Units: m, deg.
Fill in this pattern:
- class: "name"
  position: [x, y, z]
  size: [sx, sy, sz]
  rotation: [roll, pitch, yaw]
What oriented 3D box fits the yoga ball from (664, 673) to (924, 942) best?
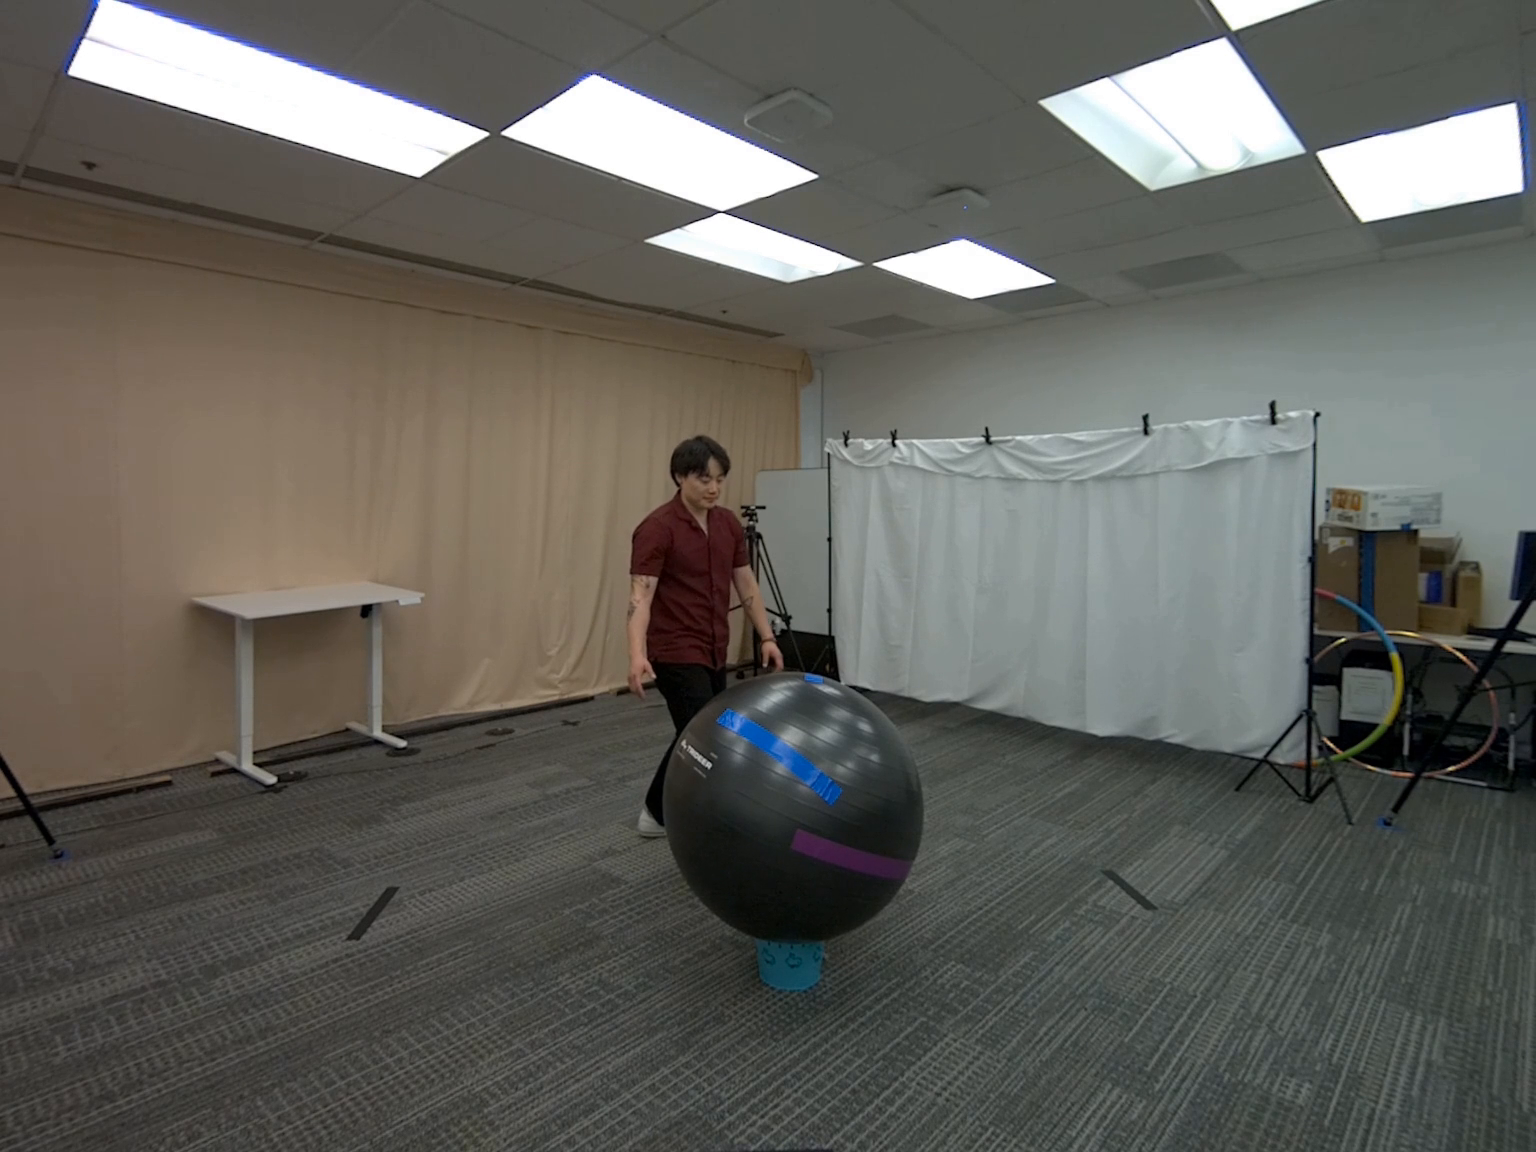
- class: "yoga ball"
  position: [0.079, 0.680, 2.478]
  size: [0.757, 0.756, 0.760]
  rotation: [0, 4, -2]
